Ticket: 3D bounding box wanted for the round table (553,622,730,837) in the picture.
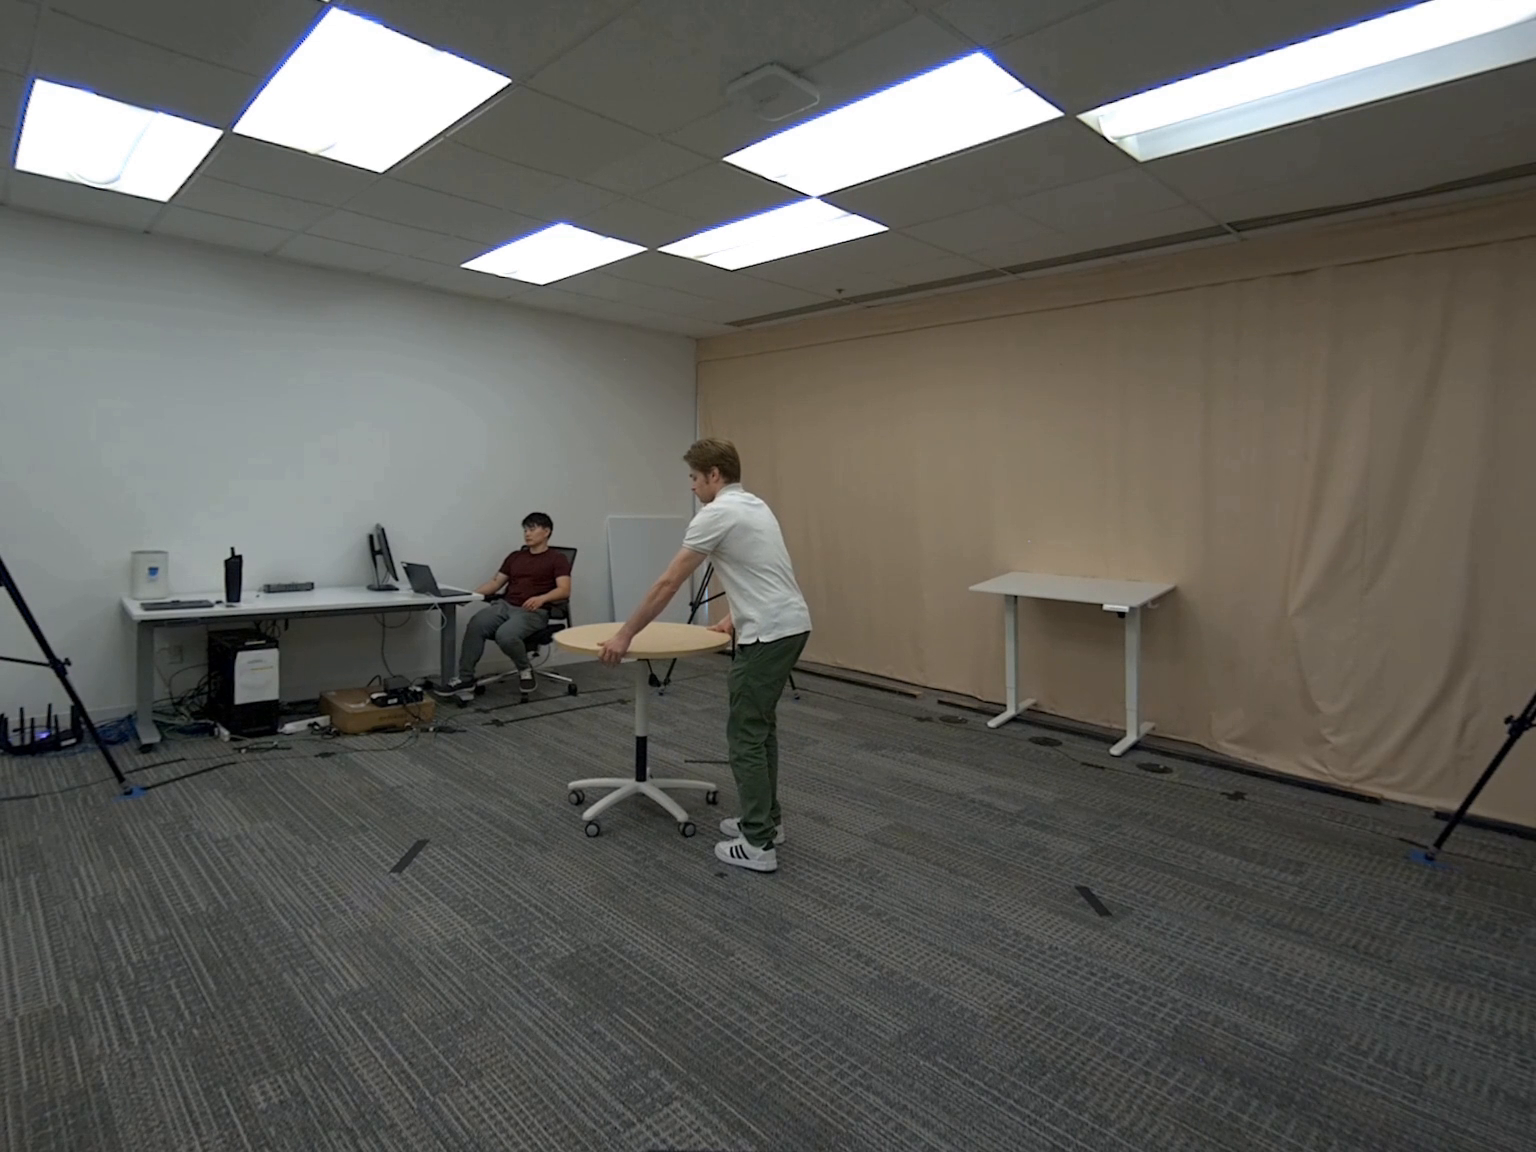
[{"bbox_3d":[-0.556,0.655,3.690,0.763,0.792,0.766,1,4,-1],"label":"round table"}]
